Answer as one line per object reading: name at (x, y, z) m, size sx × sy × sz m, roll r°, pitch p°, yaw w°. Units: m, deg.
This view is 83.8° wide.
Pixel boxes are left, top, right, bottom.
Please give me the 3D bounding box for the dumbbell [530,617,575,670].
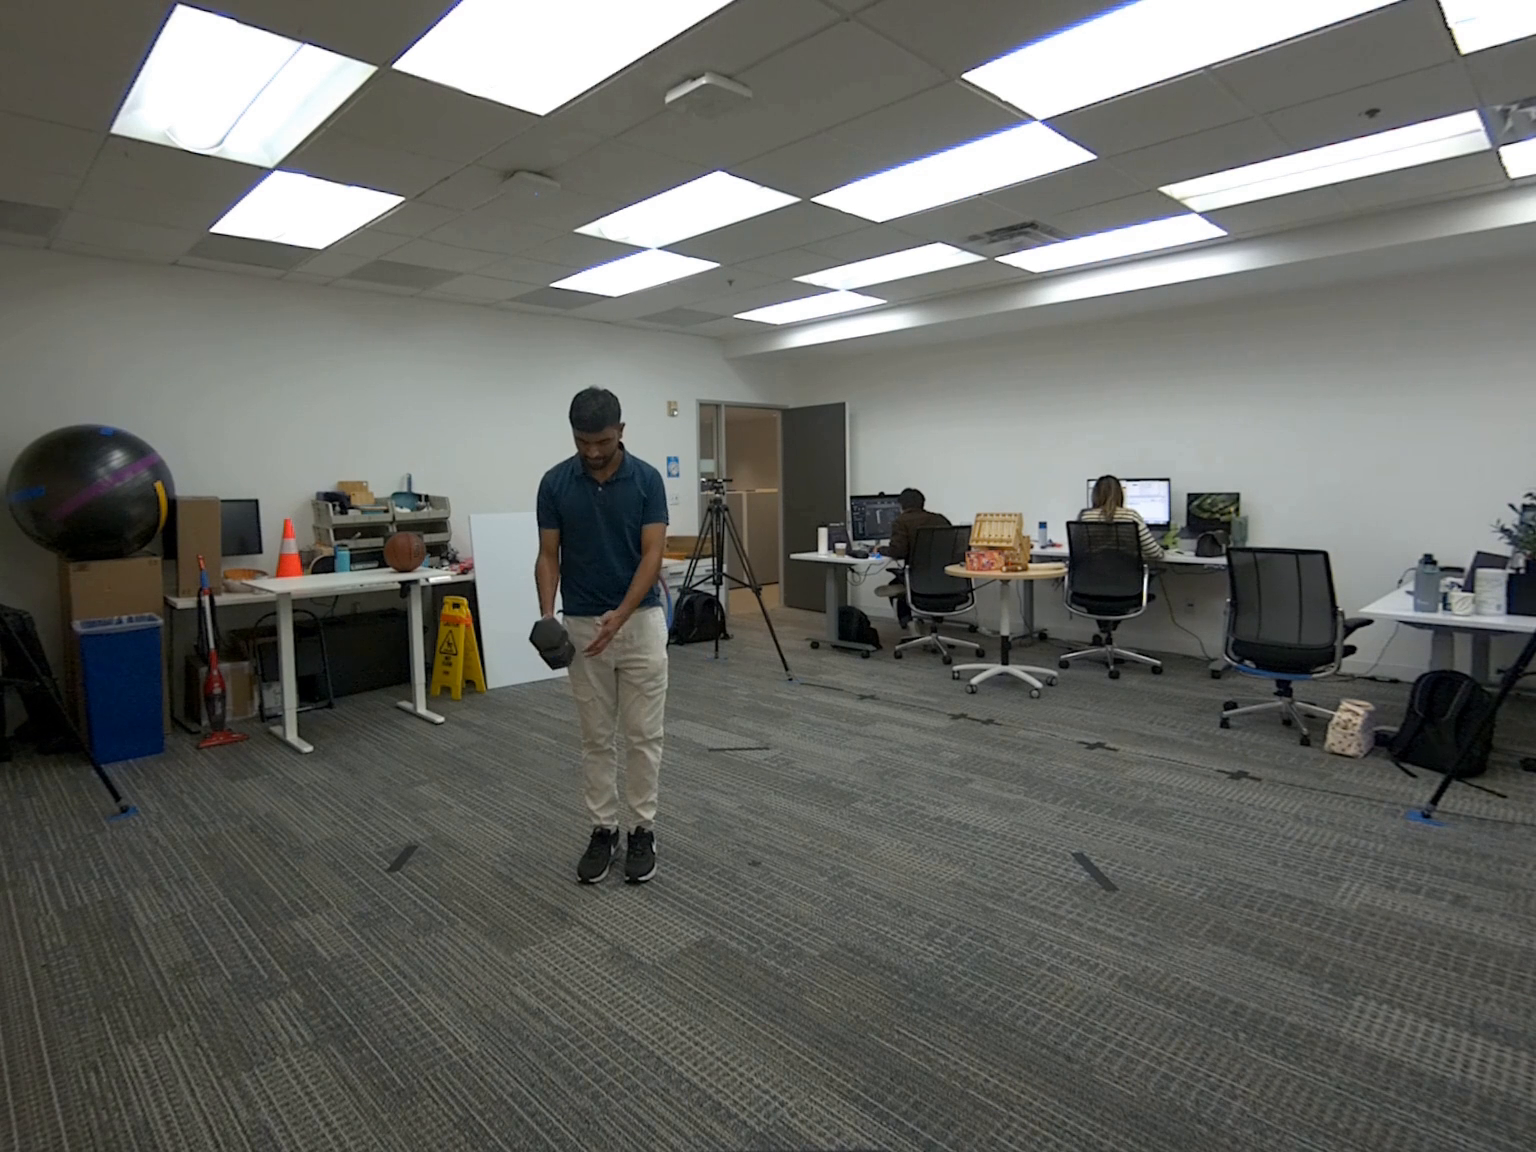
dumbbell at (-0.713, 0.227, 2.859) m, size 0.108 × 0.125 × 0.289 m, roll -42°, pitch -11°, yaw -15°
